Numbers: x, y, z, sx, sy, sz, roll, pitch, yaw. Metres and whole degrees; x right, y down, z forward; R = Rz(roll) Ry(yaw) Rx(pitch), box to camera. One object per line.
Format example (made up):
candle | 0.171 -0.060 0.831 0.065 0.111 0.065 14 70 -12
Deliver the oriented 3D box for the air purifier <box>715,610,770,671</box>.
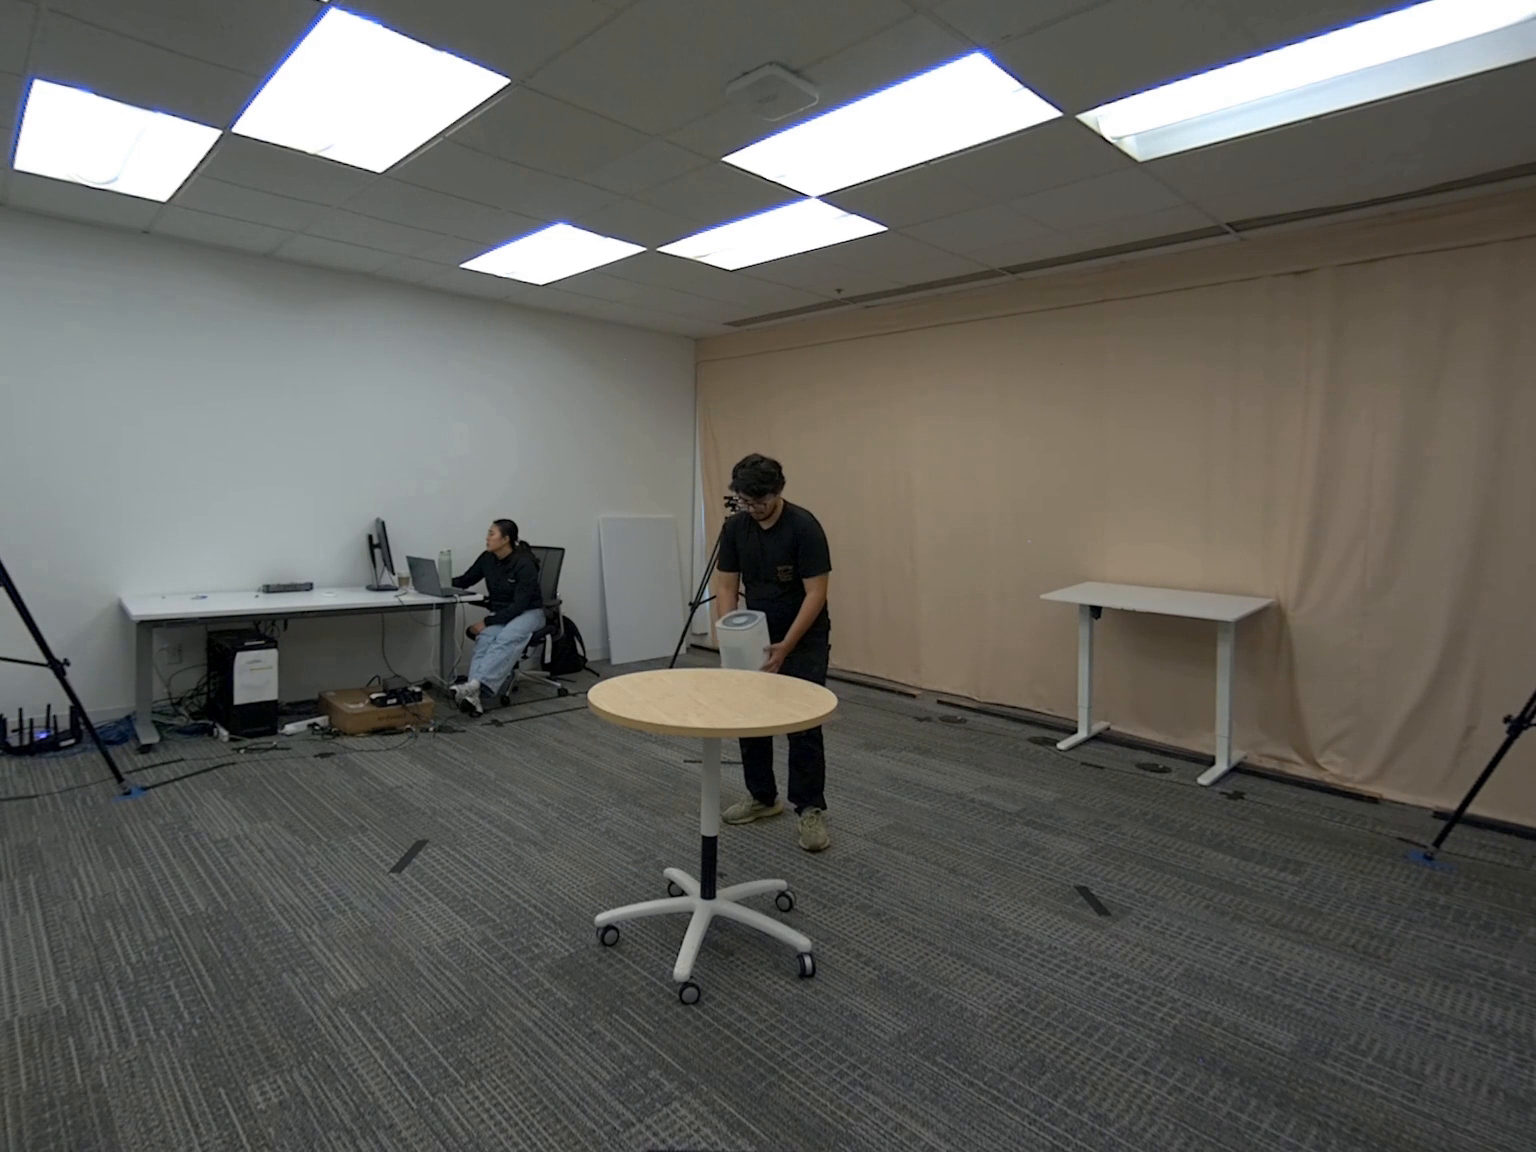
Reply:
air purifier | -0.106 0.289 3.263 0.175 0.261 0.170 2 22 32
